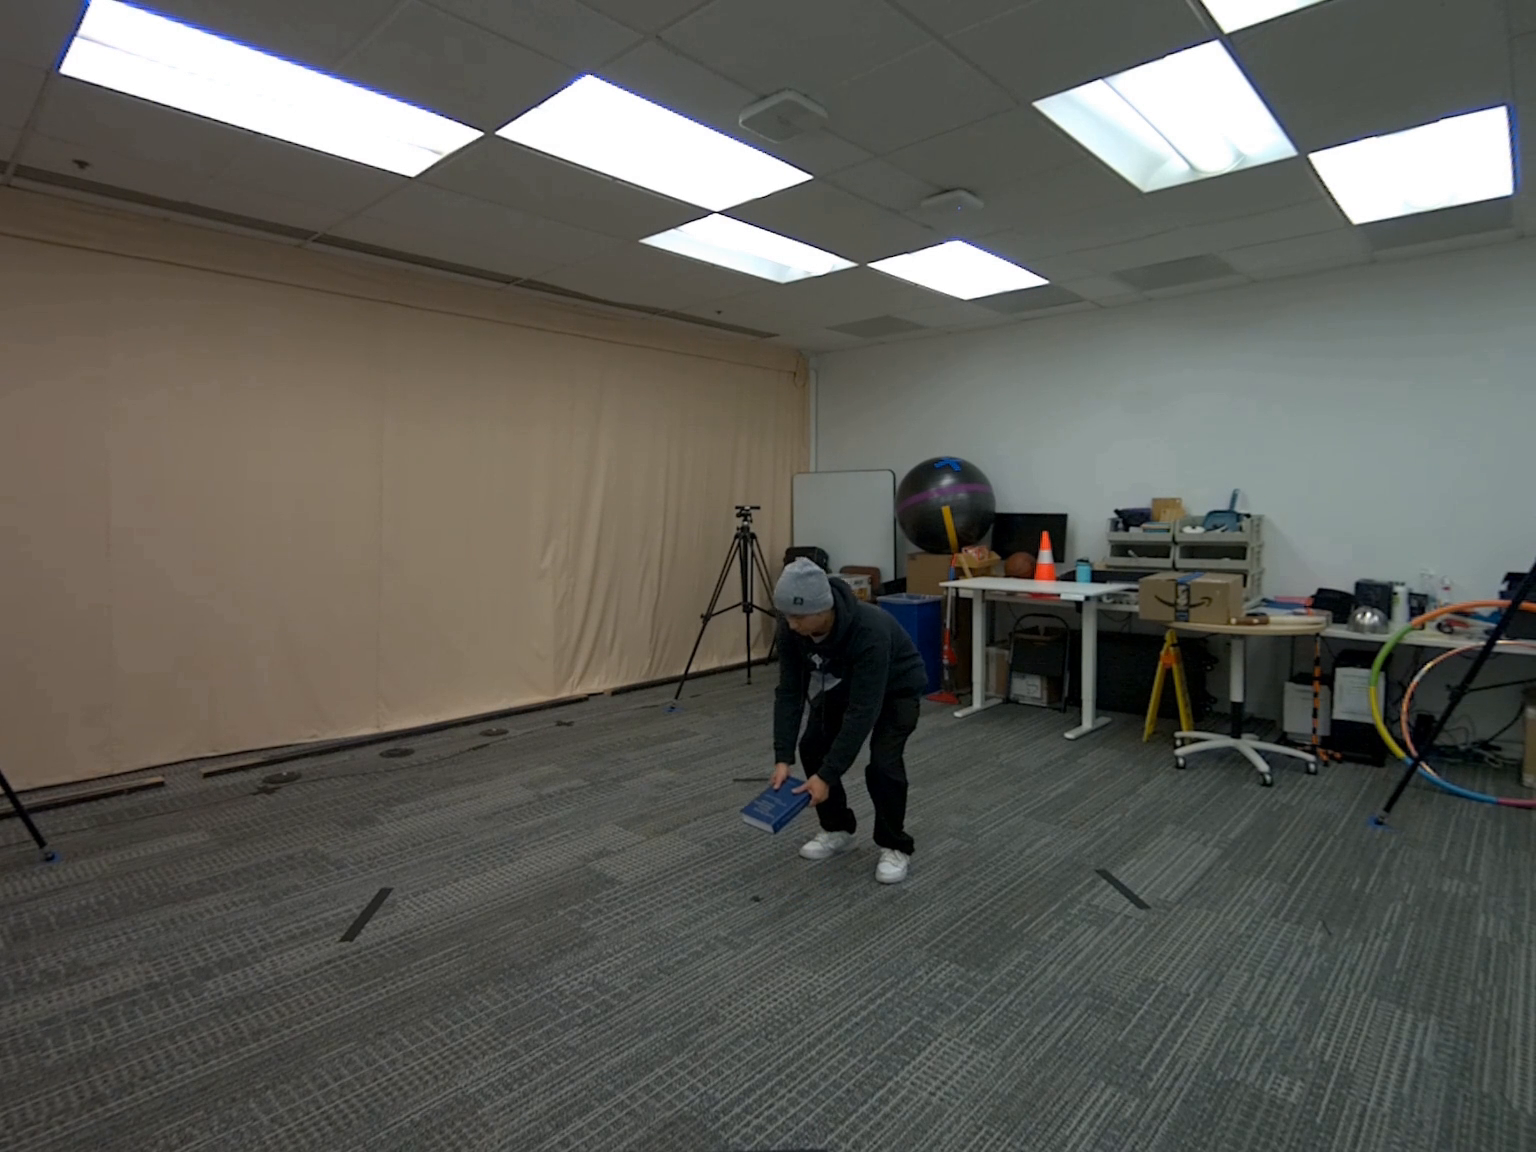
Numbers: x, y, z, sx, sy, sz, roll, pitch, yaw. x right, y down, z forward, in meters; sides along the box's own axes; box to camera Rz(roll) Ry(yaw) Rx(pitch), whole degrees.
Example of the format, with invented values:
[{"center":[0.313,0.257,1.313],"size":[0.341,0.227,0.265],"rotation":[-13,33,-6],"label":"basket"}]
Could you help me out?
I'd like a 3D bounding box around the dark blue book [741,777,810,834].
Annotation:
[{"center":[0.040,0.815,2.981],"size":[0.240,0.044,0.169],"rotation":[-26,21,-35],"label":"dark blue book"}]
